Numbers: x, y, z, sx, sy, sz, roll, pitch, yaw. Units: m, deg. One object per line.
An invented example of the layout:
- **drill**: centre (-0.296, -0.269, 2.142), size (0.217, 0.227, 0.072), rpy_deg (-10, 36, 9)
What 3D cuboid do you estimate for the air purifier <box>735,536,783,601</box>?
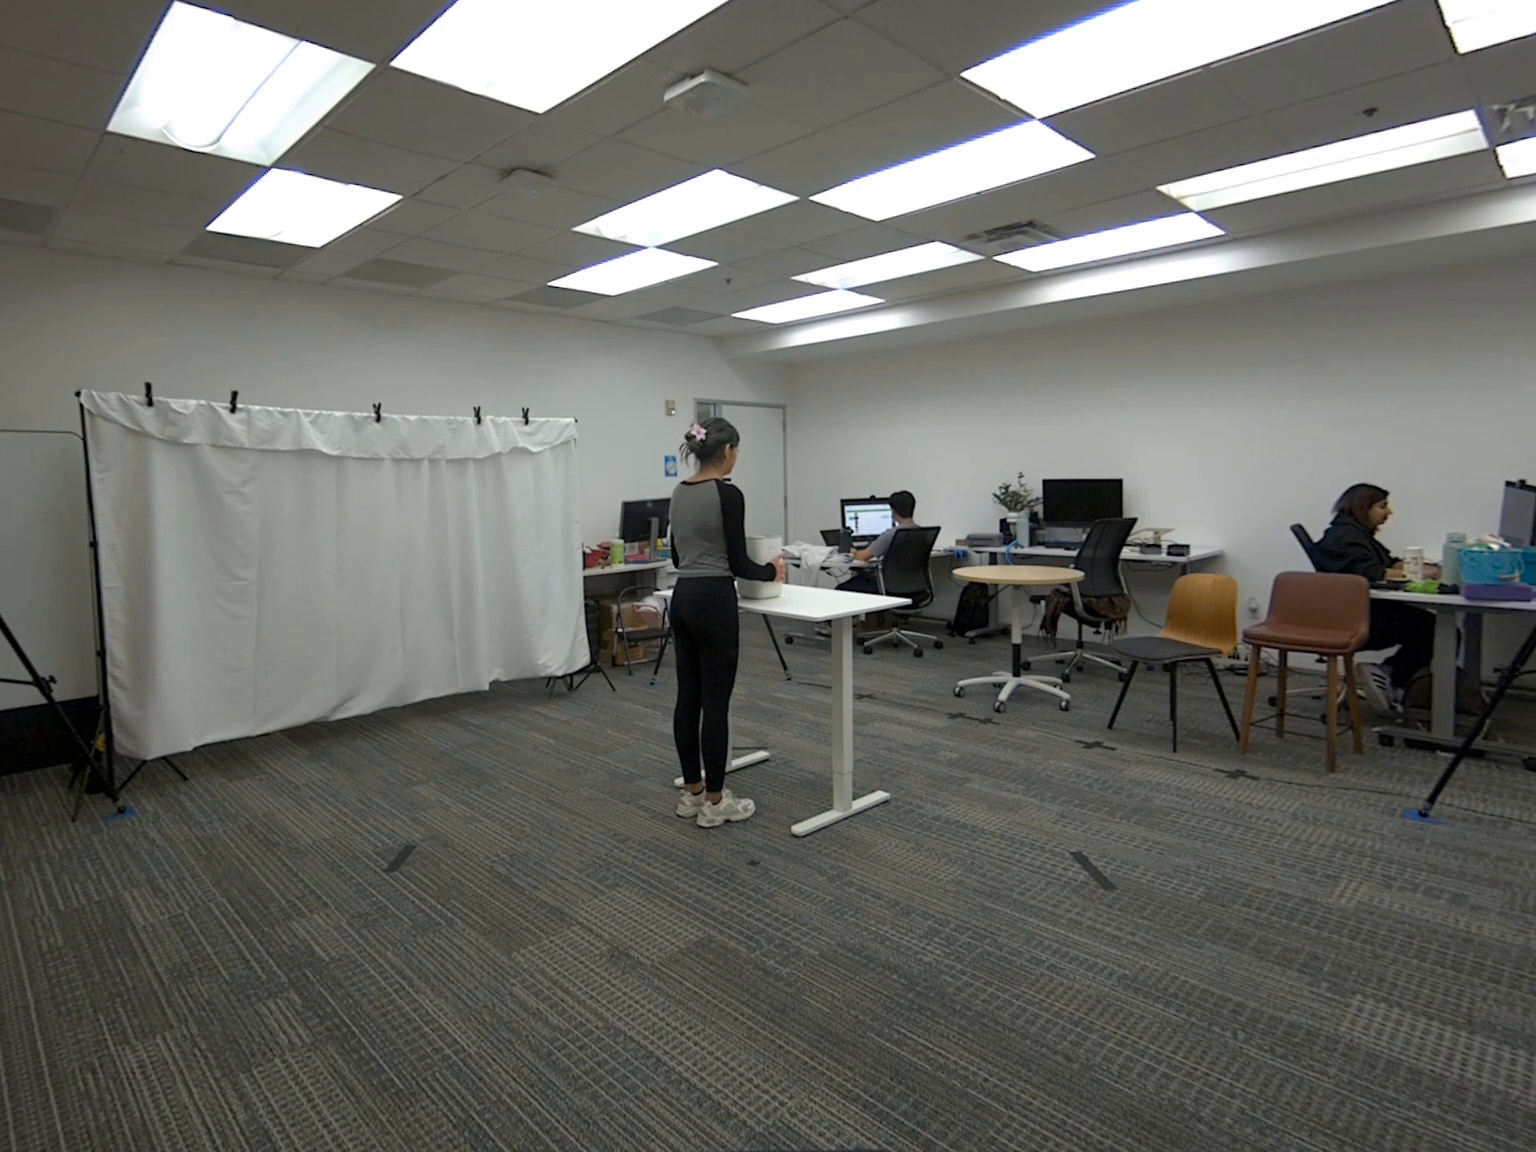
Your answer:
- **air purifier**: centre (-0.039, -0.040, 3.707), size (0.167, 0.264, 0.177), rpy_deg (-6, 8, -42)
